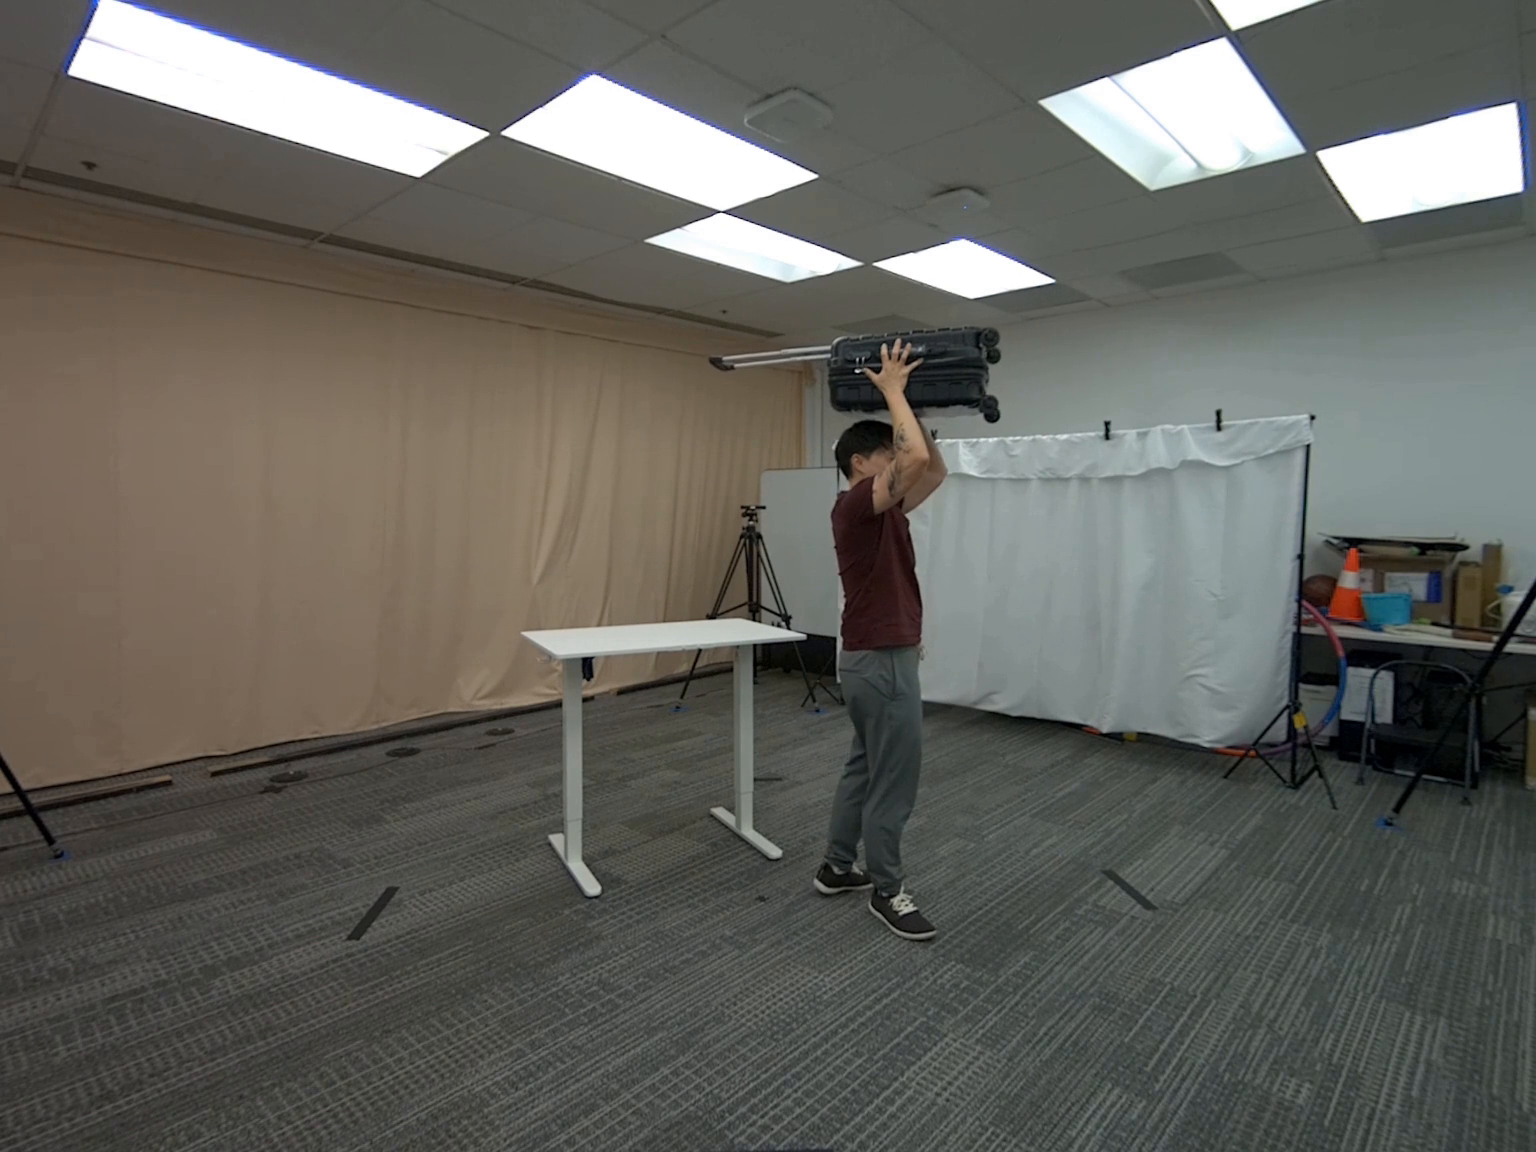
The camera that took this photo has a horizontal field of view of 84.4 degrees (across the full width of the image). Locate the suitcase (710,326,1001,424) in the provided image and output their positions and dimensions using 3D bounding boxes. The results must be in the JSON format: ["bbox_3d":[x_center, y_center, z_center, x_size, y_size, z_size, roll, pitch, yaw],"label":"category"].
[{"bbox_3d":[0.297,-0.664,2.897,0.999,0.257,0.376,1,1,20],"label":"suitcase"}]
